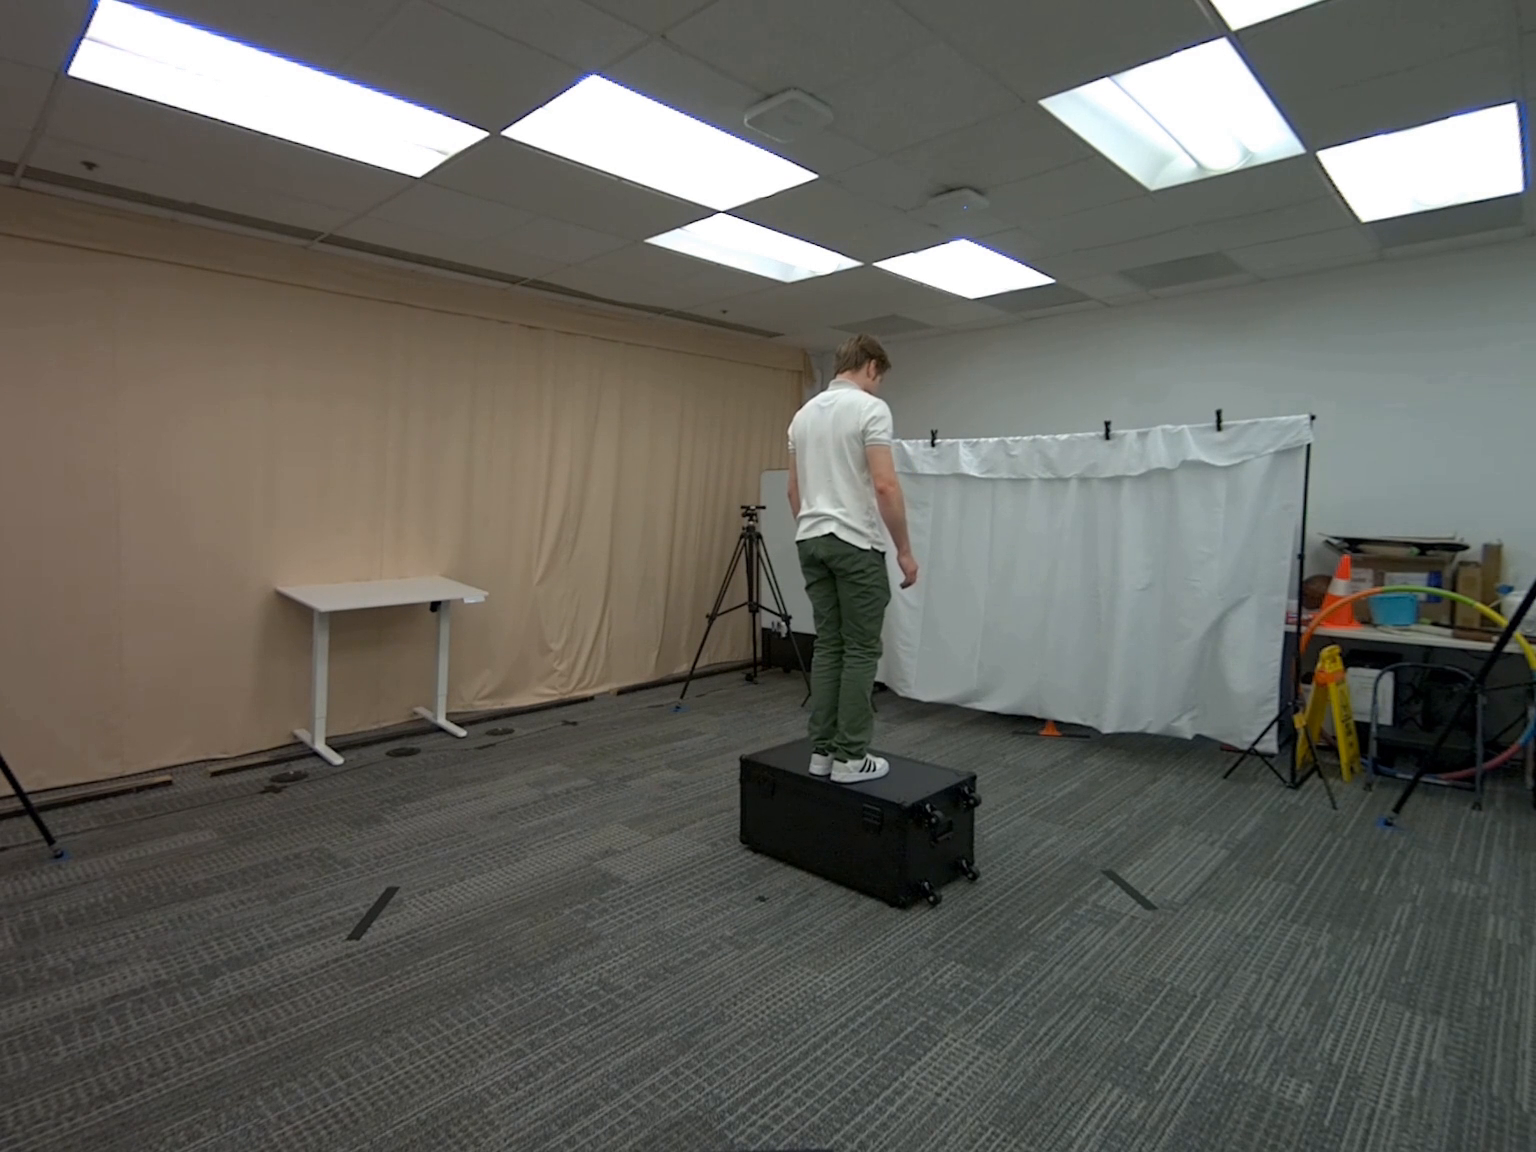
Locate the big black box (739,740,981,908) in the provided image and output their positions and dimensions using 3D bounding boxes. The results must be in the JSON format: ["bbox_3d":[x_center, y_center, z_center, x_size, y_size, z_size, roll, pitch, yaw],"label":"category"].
[{"bbox_3d":[0.362,0.926,3.274,0.898,0.384,0.507,5,5,43],"label":"big black box"}]
